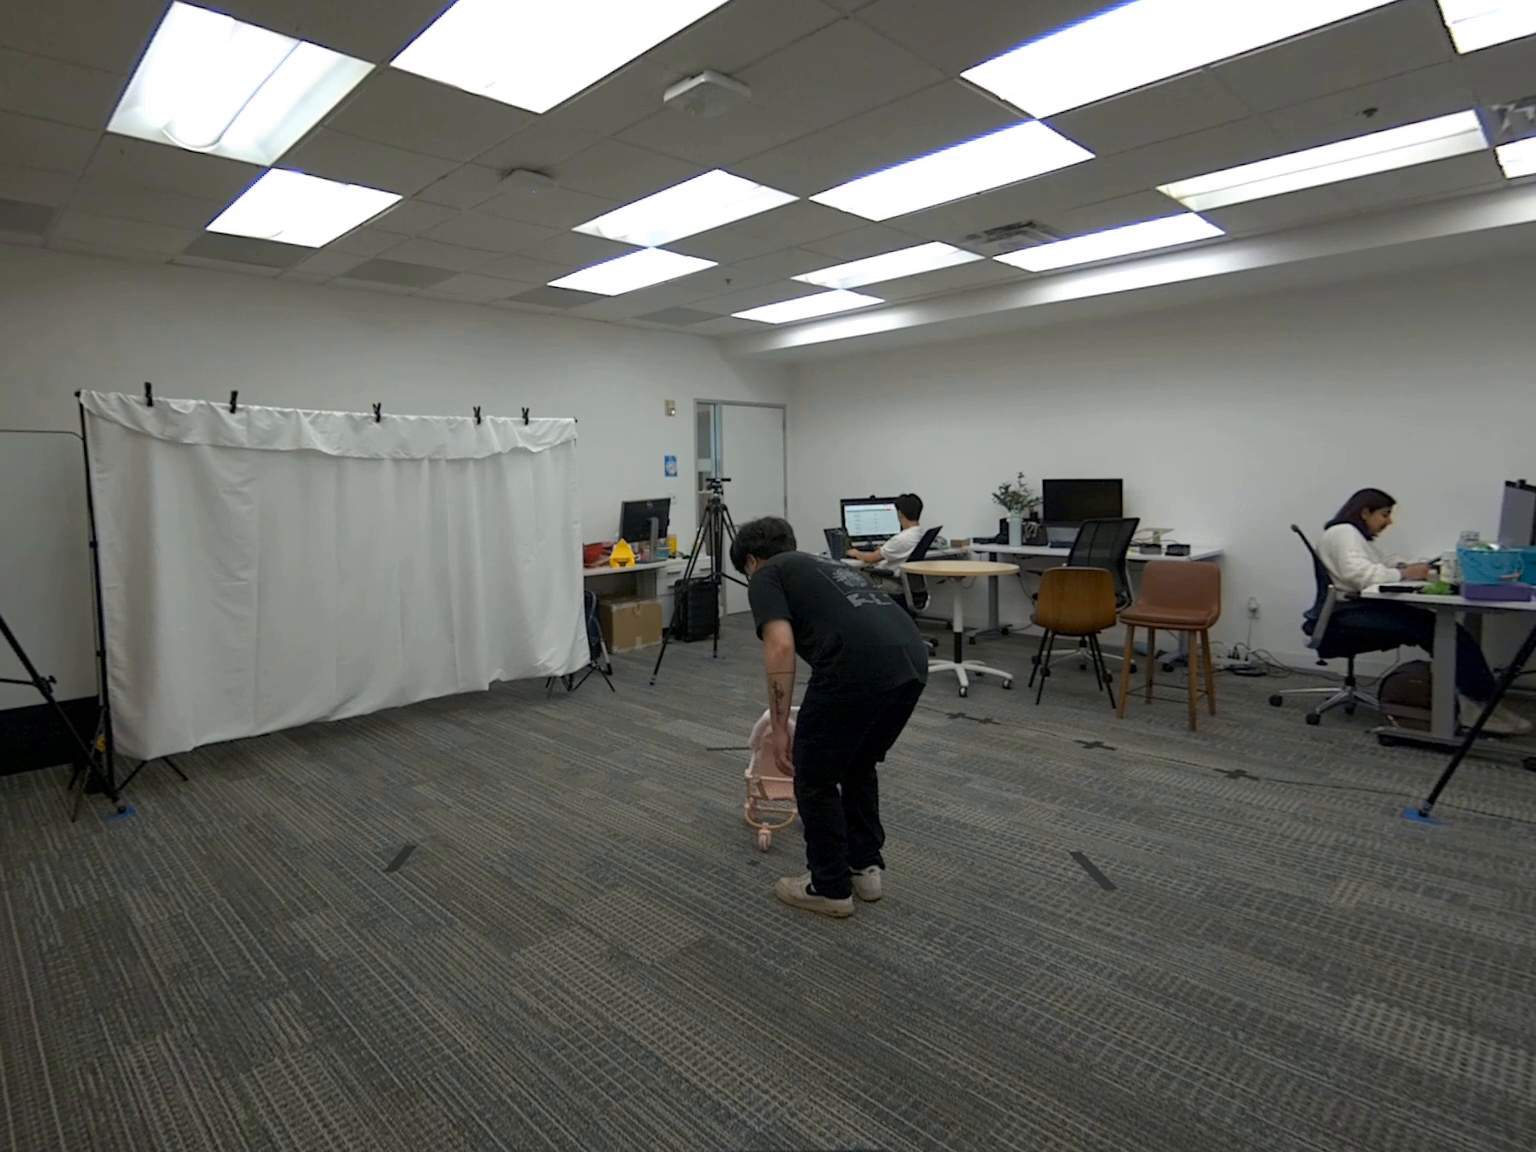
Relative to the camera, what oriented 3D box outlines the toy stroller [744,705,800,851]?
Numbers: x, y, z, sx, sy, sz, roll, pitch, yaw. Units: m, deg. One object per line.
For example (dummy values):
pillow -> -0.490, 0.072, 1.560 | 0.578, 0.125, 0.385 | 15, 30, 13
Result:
toy stroller -> 0.027, 0.786, 3.379 | 0.287, 0.540, 0.332 | 0, -10, 19
